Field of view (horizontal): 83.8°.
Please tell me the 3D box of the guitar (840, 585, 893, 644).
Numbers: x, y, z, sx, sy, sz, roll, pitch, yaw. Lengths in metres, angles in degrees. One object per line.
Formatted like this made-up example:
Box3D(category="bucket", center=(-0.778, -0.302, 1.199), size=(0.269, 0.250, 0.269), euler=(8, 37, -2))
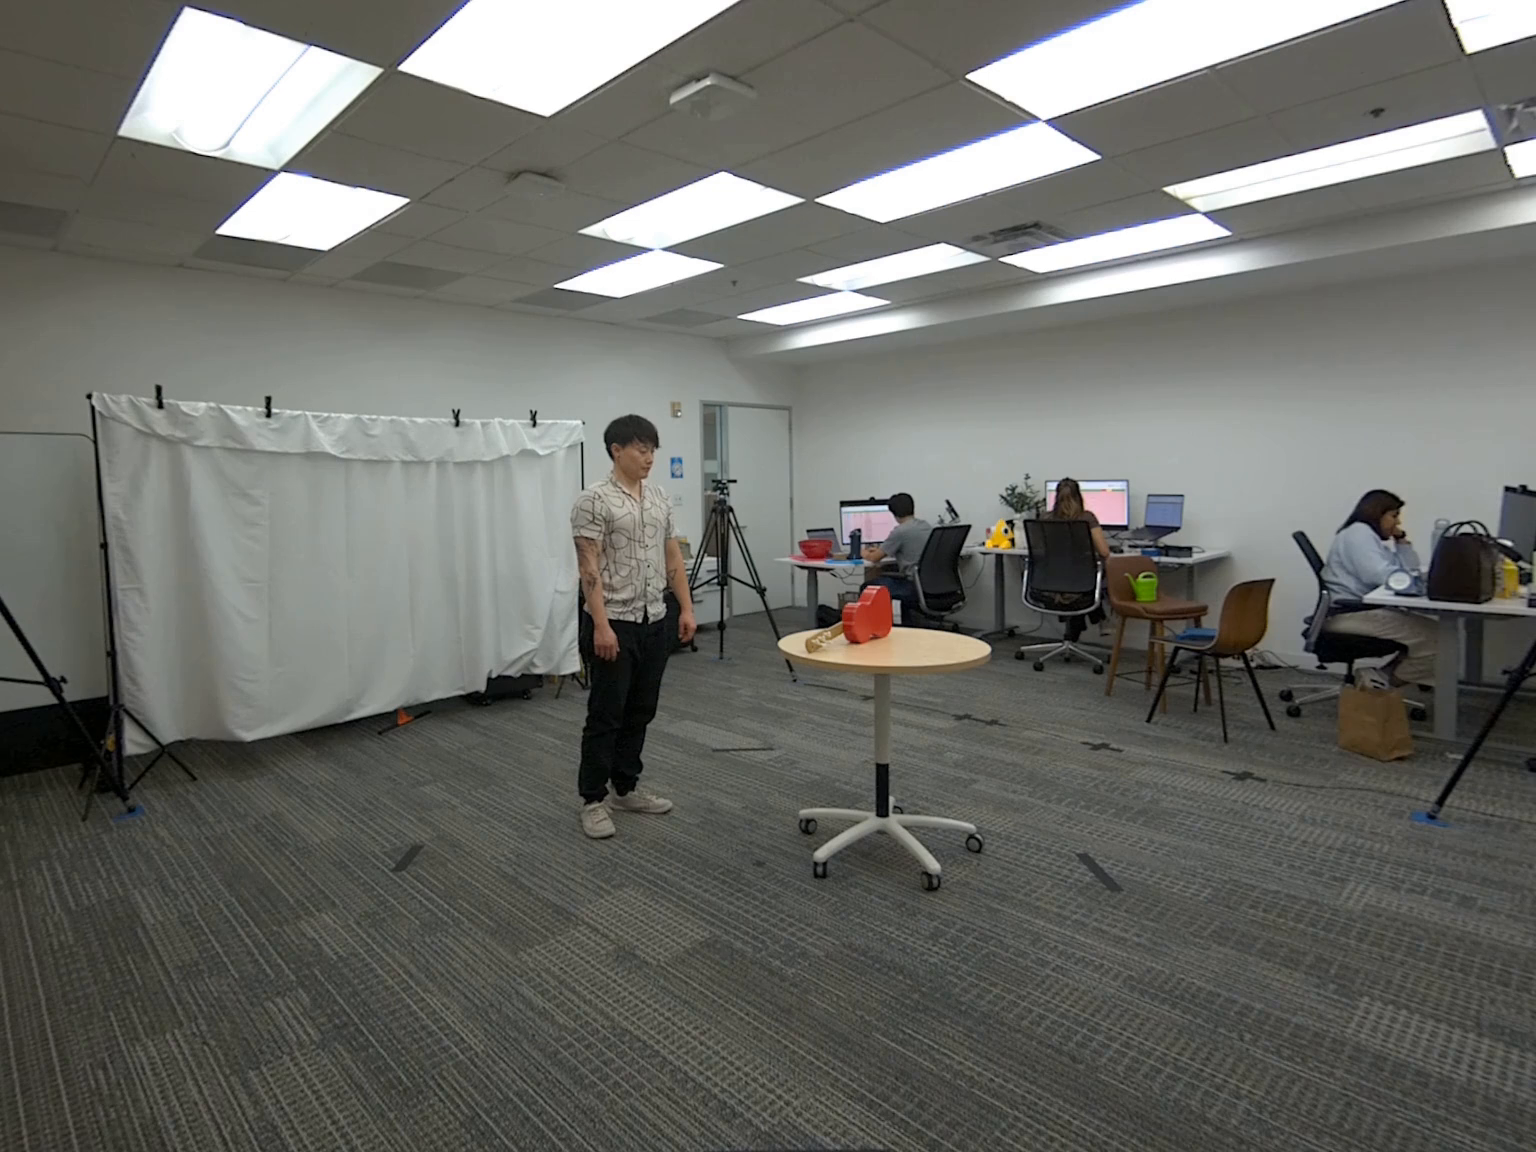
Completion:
Box3D(category="guitar", center=(0.313, 0.209, 3.160), size=(0.073, 0.189, 0.493), euler=(2, 25, 39))
